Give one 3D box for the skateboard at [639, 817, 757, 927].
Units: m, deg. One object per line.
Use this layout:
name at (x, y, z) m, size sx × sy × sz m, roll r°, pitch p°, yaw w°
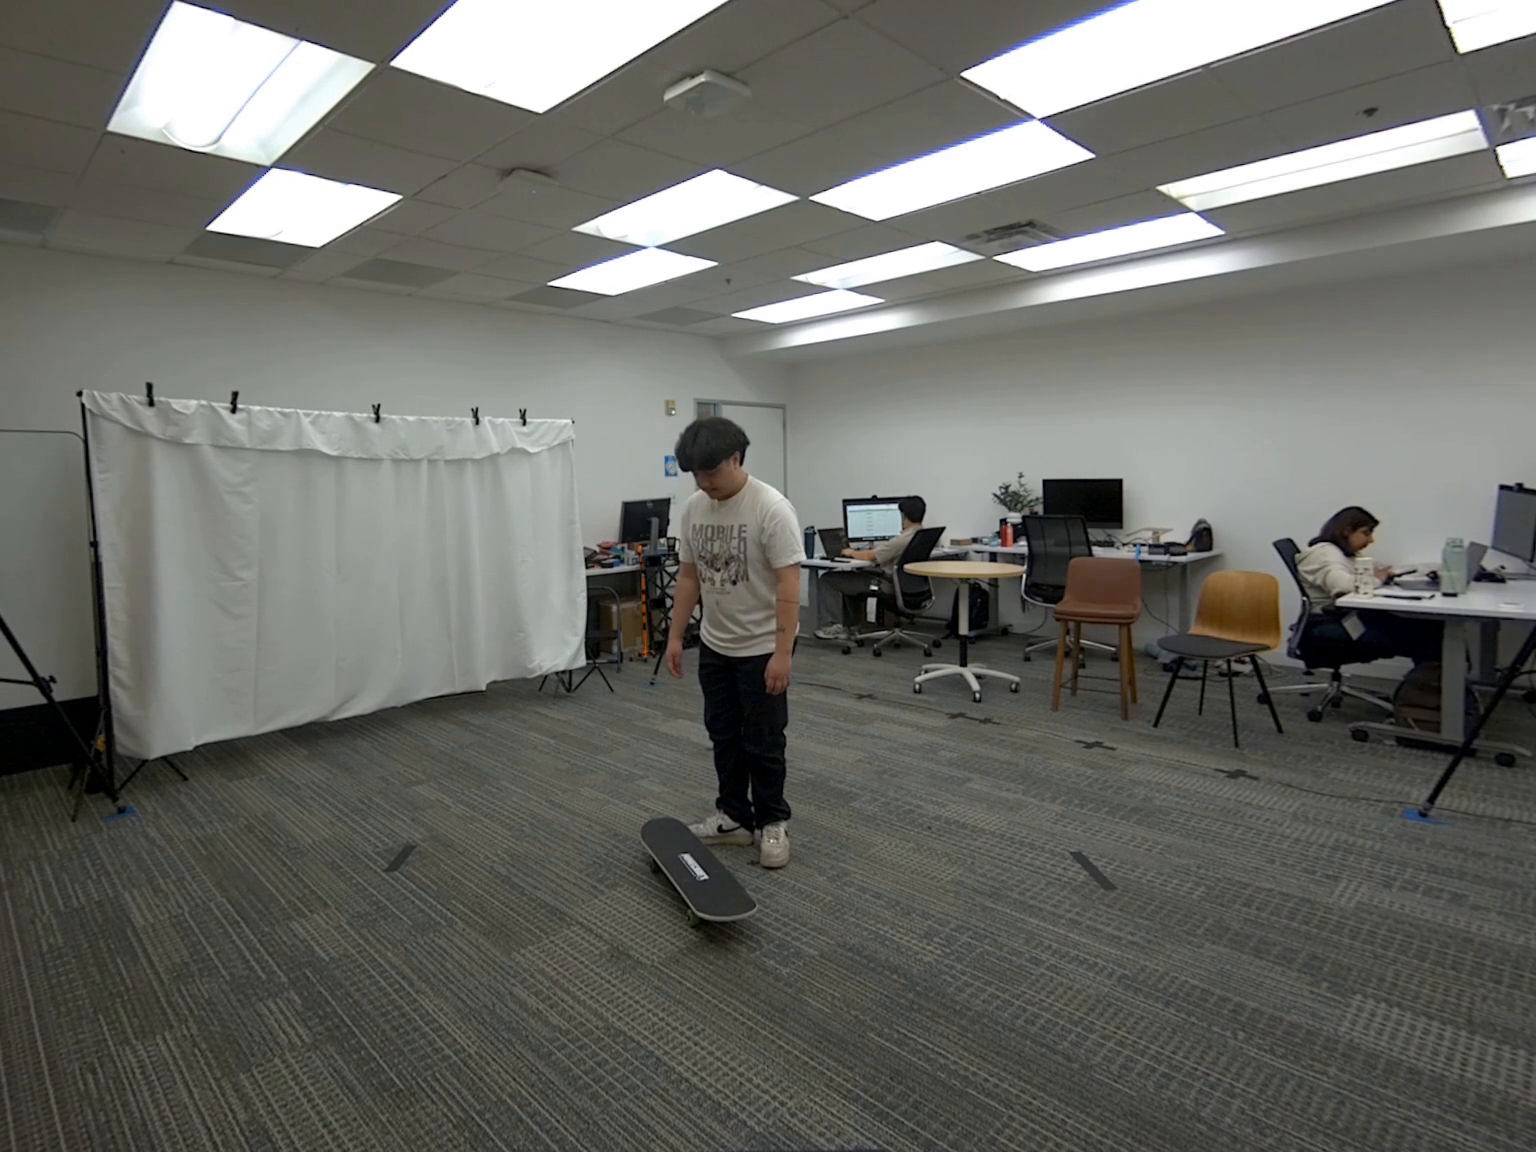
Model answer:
skateboard at (-0.242, 1.014, 2.887) m, size 0.190 × 0.110 × 0.804 m, roll -4°, pitch 7°, yaw -24°
